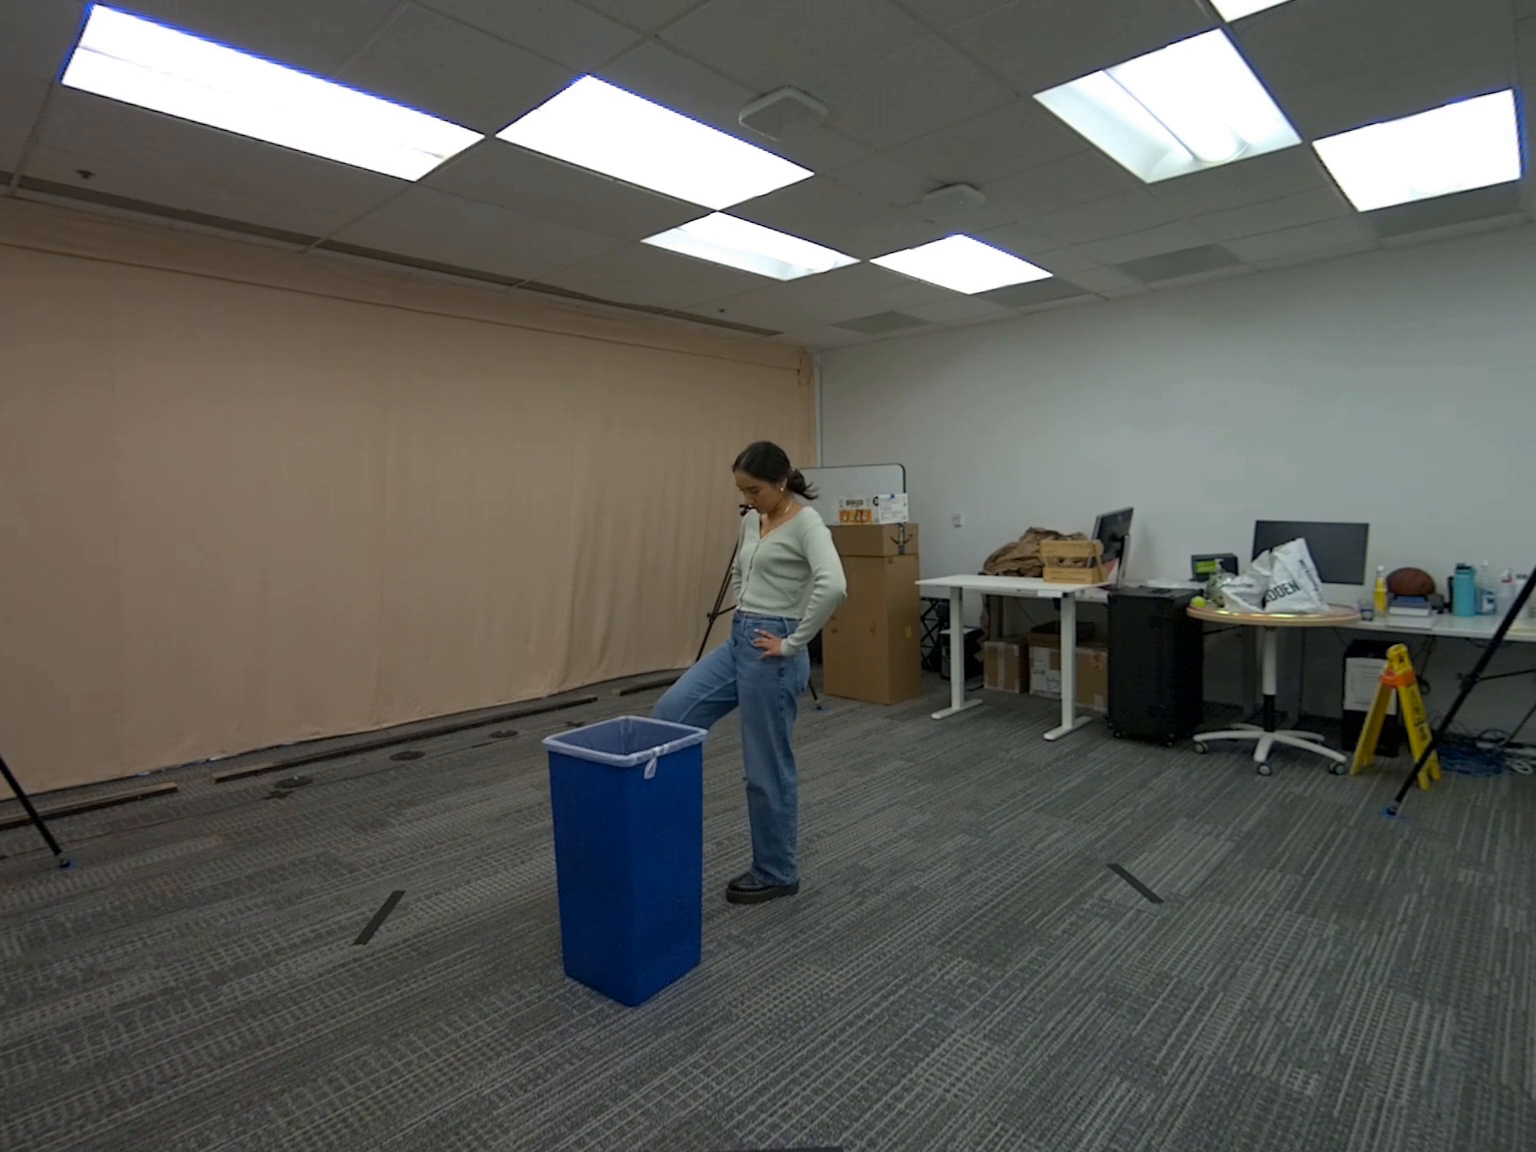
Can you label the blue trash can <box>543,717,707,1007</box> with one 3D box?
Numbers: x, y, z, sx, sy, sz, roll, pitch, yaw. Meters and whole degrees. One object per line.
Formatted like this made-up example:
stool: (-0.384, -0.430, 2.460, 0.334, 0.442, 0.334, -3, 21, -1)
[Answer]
blue trash can: (-0.416, 0.829, 2.530, 0.390, 0.712, 0.363, 0, 3, 37)
